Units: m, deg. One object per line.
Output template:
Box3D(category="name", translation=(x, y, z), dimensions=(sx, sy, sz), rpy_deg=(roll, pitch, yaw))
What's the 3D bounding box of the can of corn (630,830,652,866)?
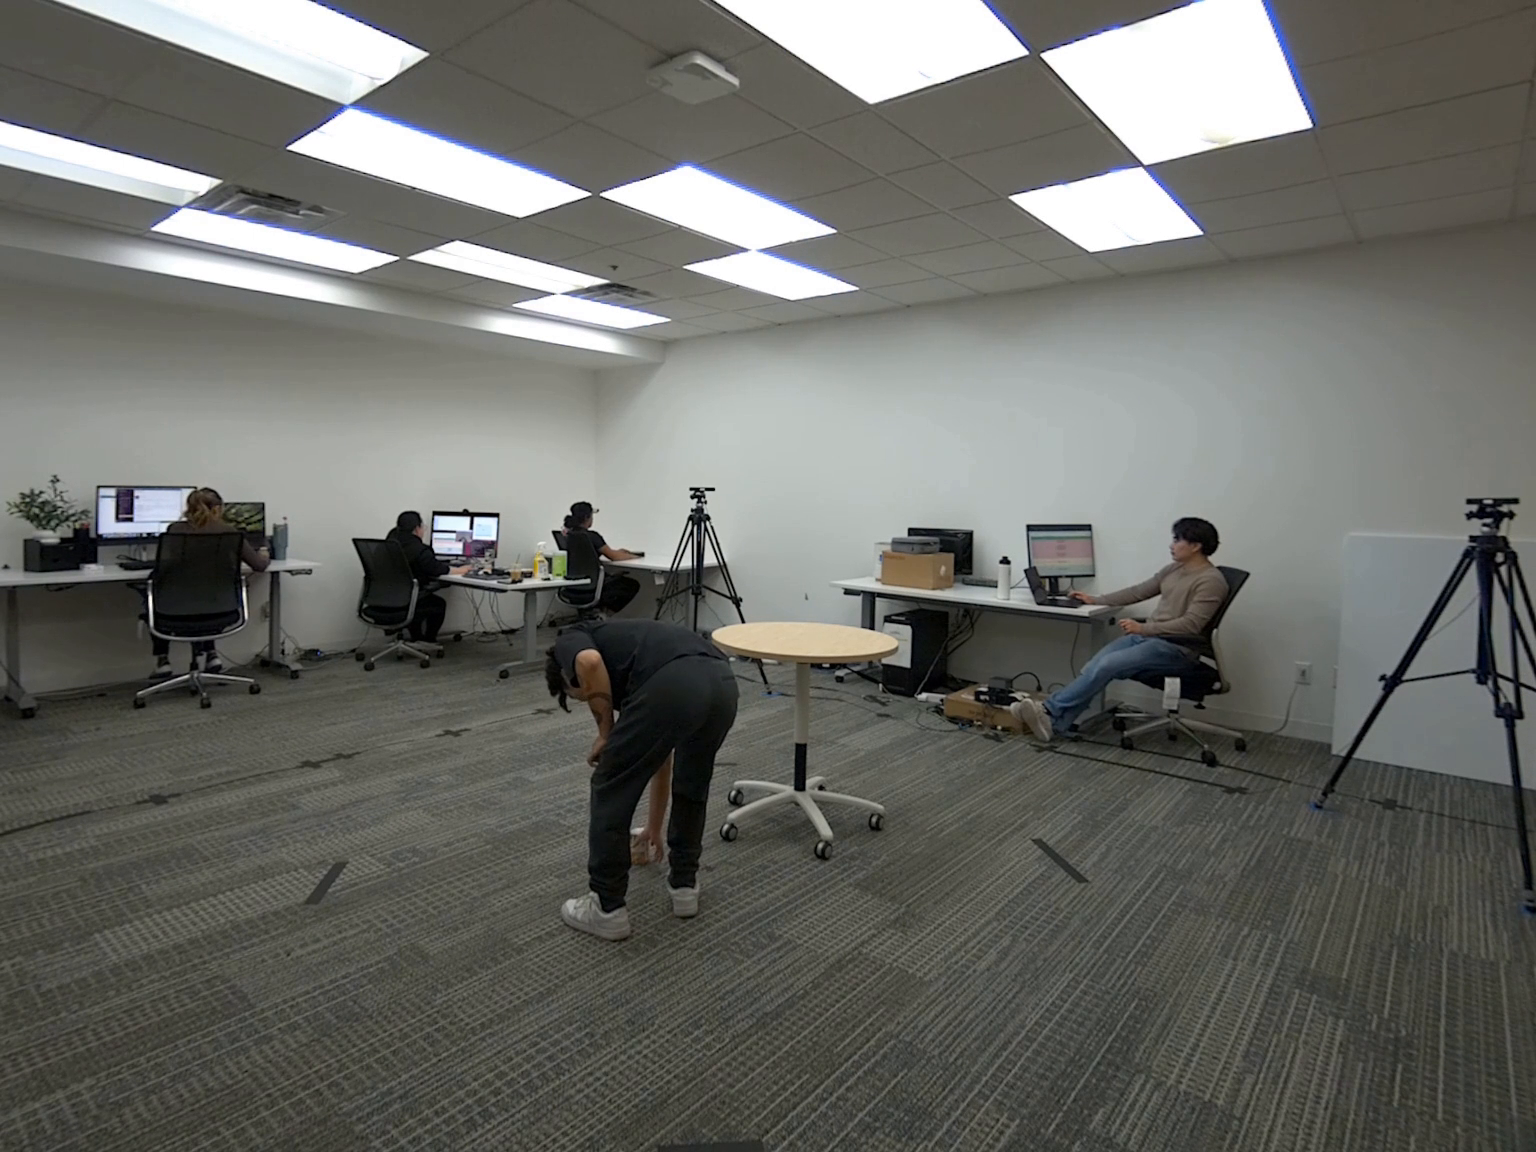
Box3D(category="can of corn", translation=(-0.485, 0.999, 3.162), dimensions=(0.074, 0.110, 0.075), rpy_deg=(4, 6, -2))
